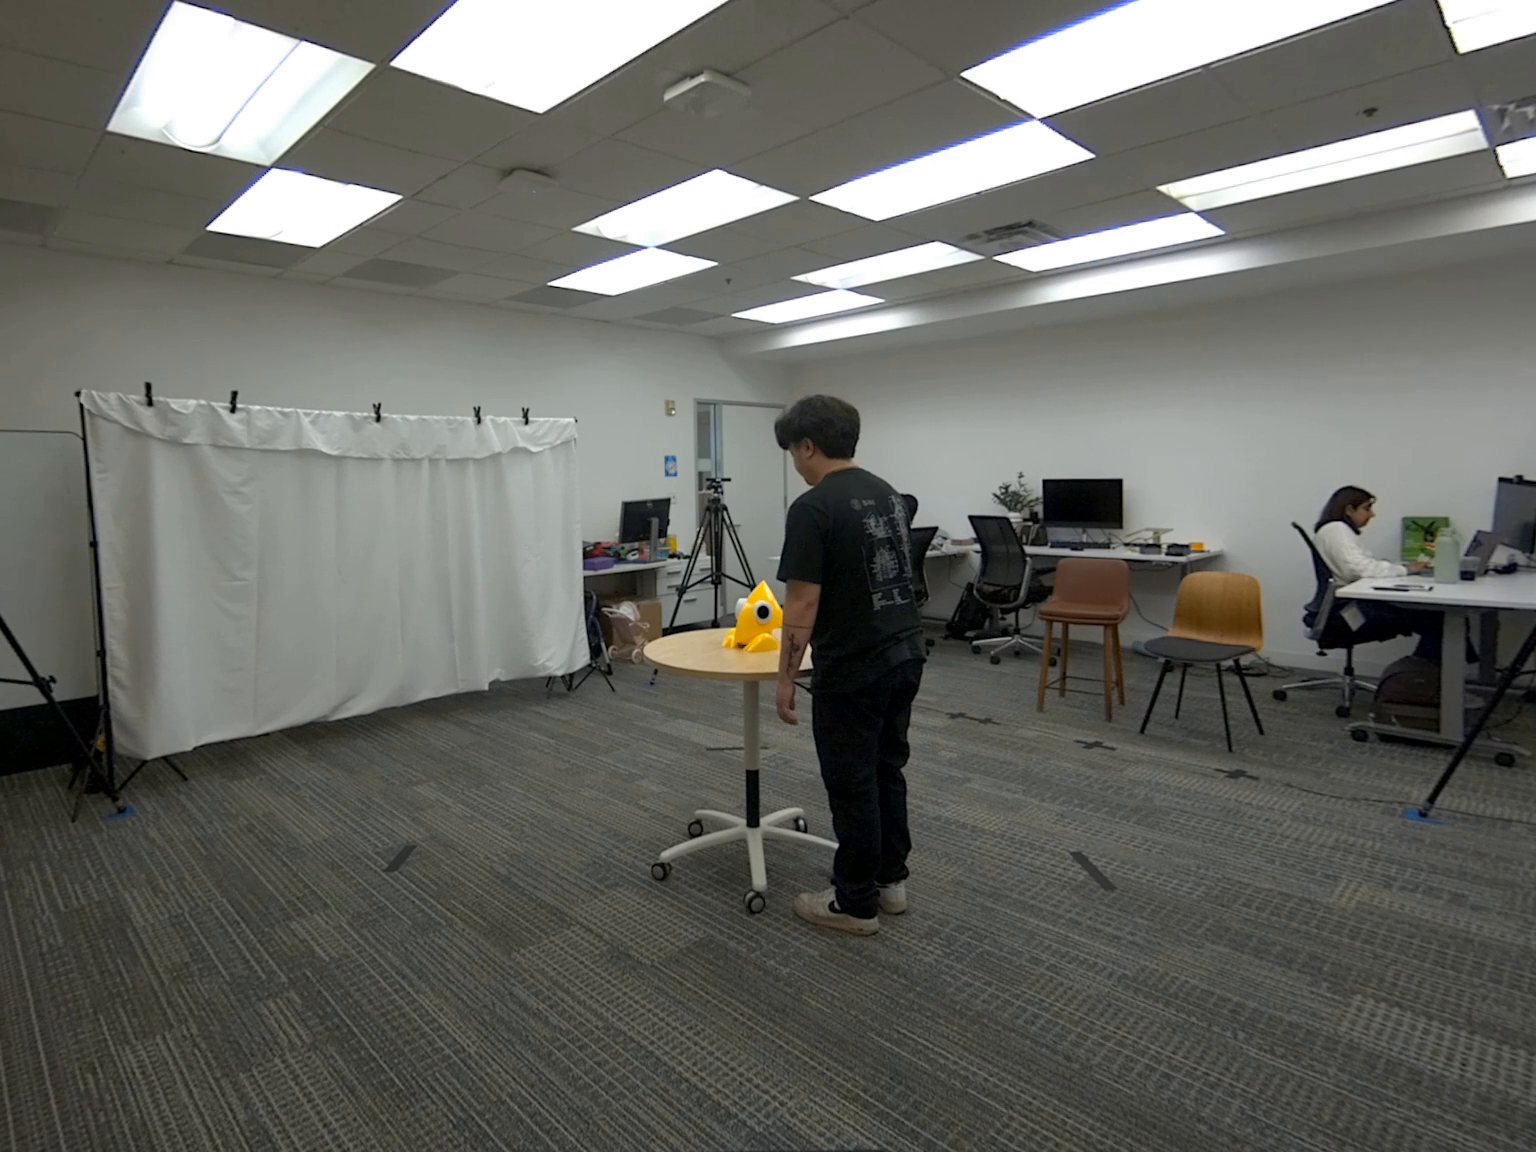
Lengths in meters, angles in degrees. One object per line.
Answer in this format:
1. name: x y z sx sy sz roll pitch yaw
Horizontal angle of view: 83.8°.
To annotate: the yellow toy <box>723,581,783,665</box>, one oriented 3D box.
1. yellow toy: -0.055 0.141 3.061 0.211 0.229 0.188 5 8 44
